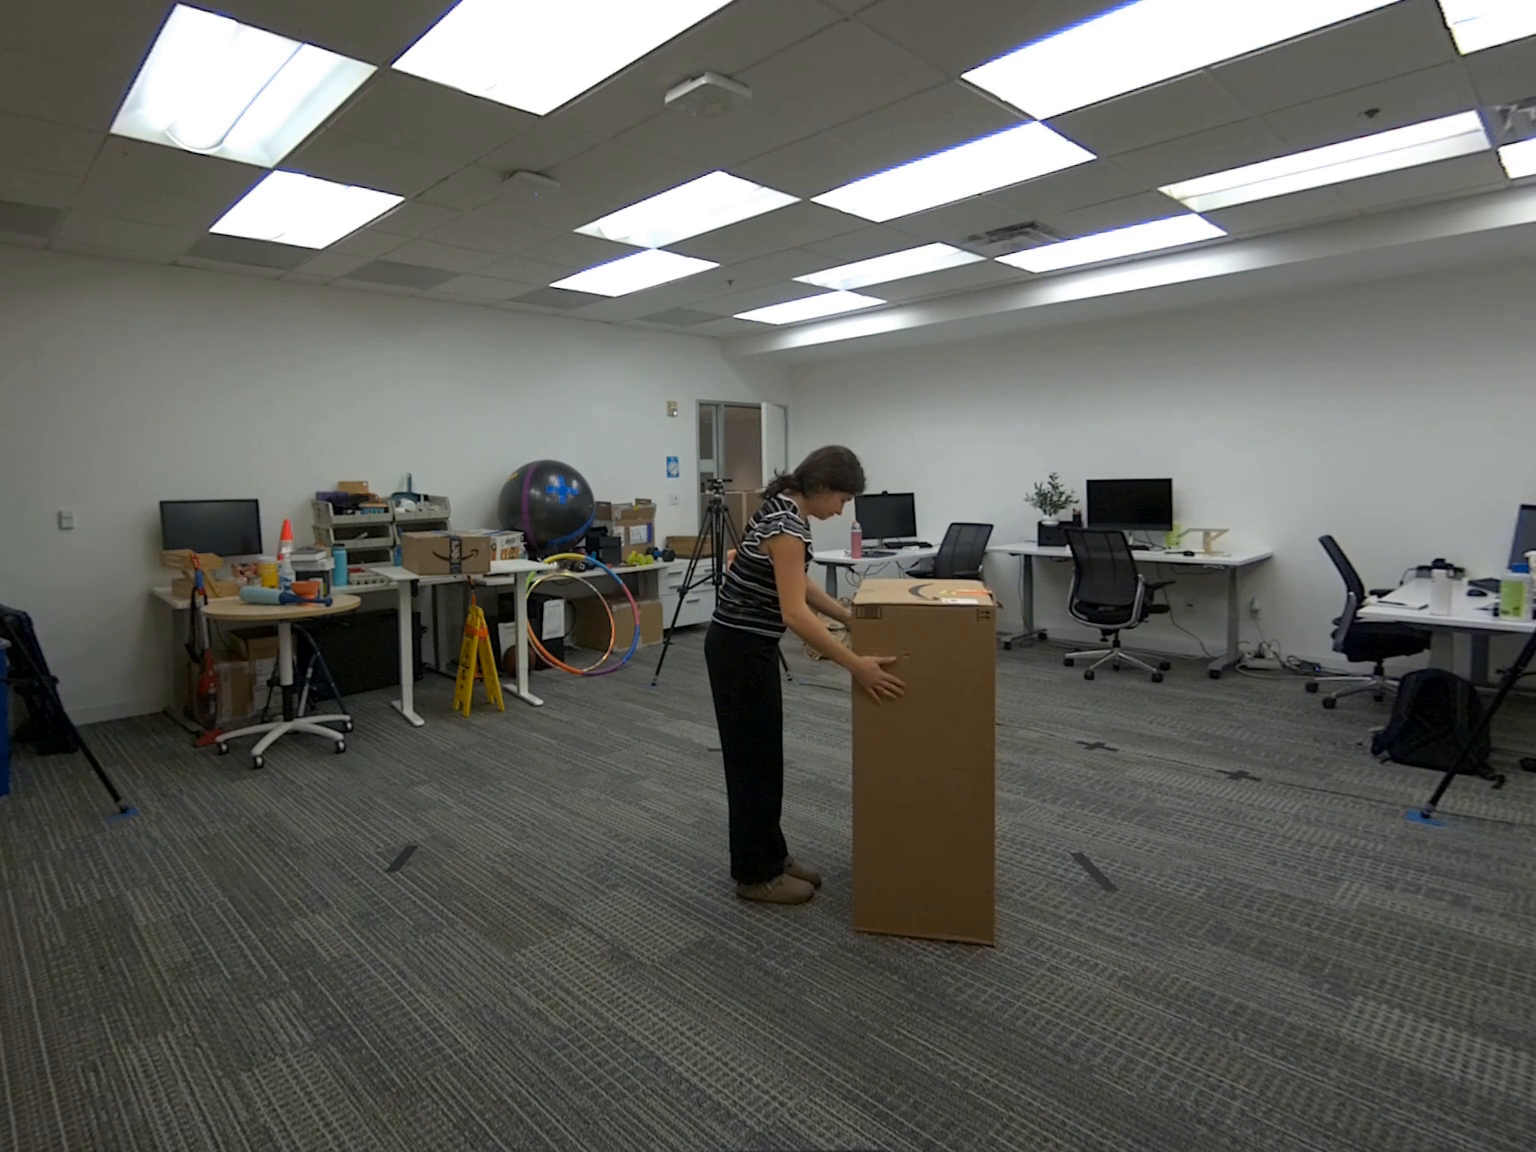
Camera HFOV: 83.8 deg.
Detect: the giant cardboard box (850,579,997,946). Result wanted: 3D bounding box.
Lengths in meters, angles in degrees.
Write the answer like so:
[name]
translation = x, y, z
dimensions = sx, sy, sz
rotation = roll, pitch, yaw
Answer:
[giant cardboard box]
translation = 0.515, 0.562, 2.825
dimensions = 0.431, 1.022, 0.573
rotation = 0, 4, 10
